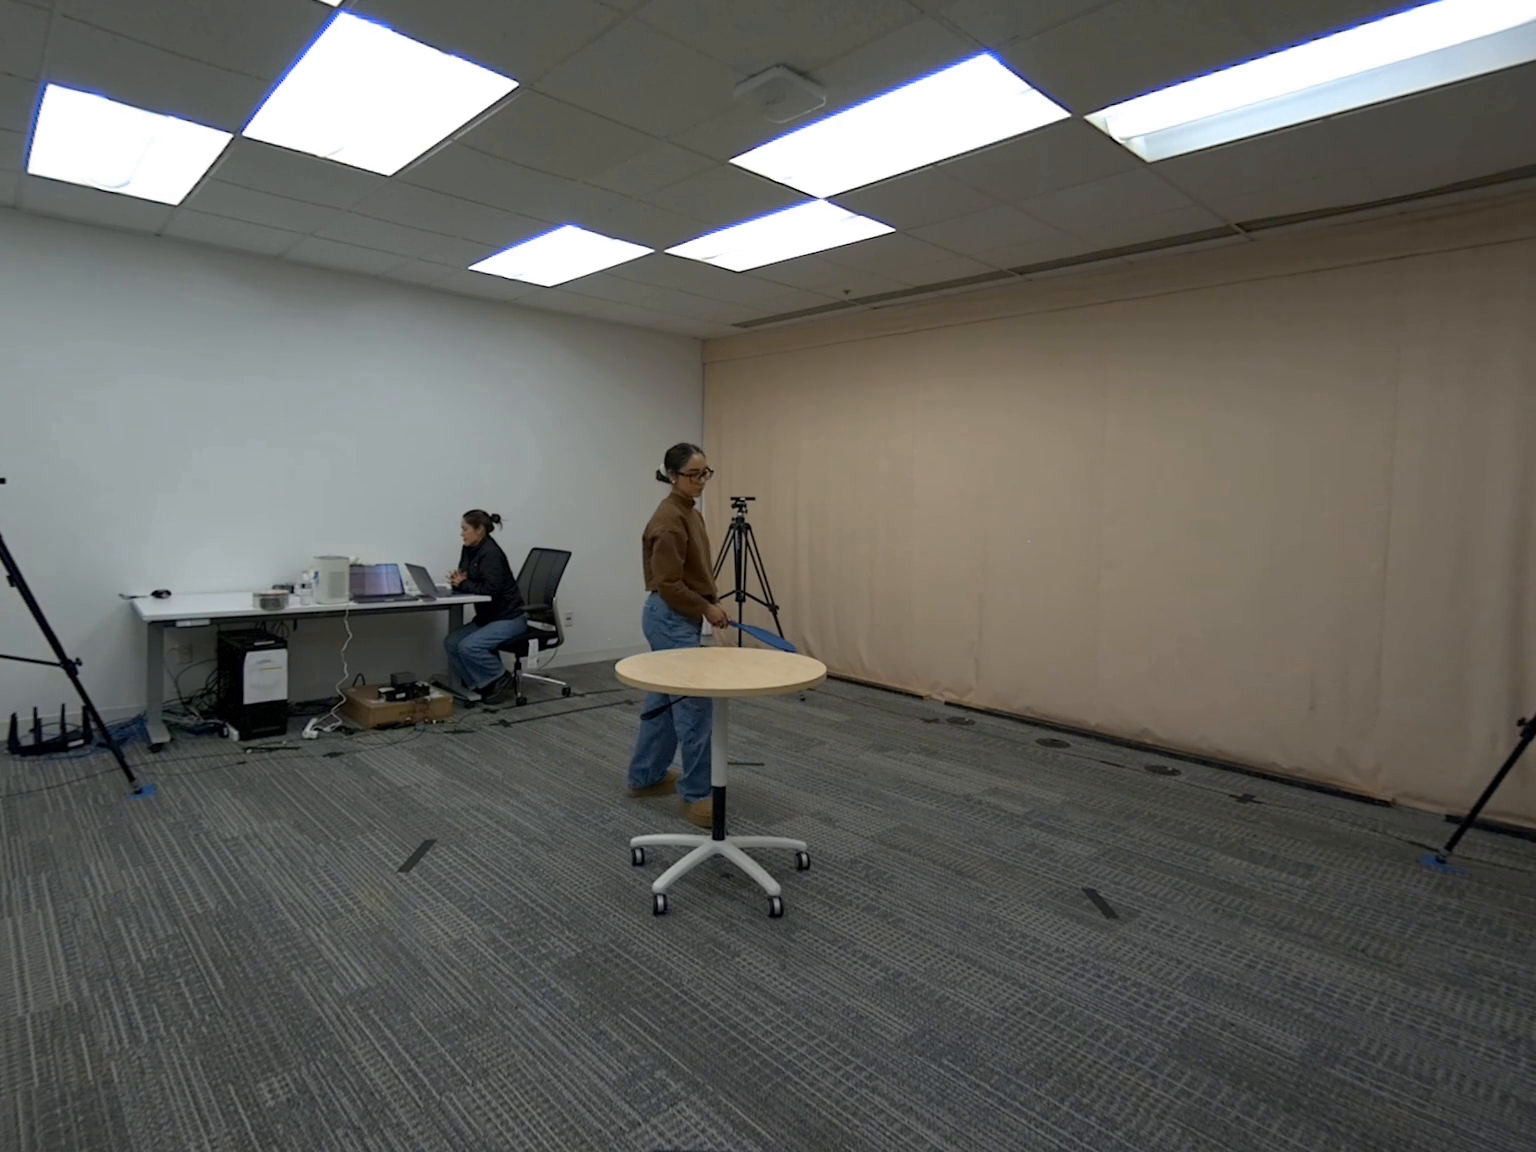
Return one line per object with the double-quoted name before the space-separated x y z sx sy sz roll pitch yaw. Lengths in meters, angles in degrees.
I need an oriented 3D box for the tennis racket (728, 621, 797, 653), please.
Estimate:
"tennis racket" -0.071 0.251 3.821 0.425 0.031 0.218 21 10 -19
